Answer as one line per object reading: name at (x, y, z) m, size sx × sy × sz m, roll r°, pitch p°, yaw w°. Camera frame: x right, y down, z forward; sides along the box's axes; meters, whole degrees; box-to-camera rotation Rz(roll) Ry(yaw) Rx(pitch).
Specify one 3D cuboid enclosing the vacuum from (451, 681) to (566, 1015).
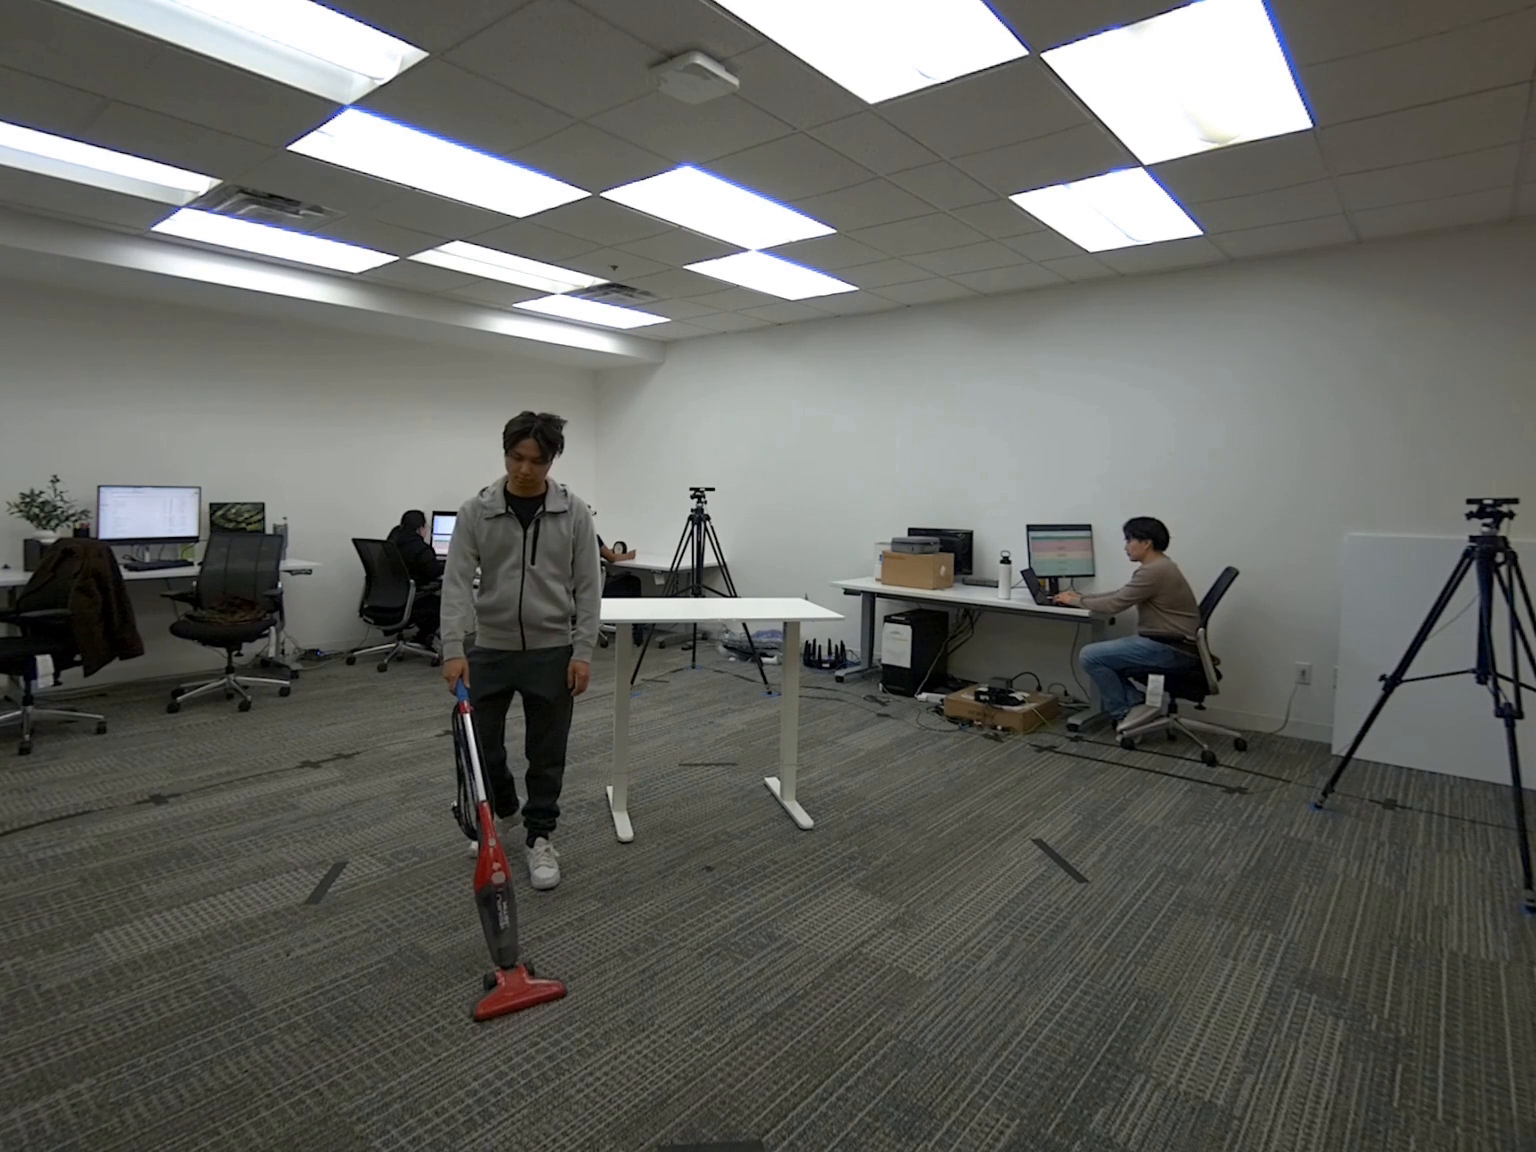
vacuum at (-0.888, 0.710, 2.602) m, size 0.246 × 1.087 × 0.143 m, roll -2°, pitch -38°, yaw -31°
